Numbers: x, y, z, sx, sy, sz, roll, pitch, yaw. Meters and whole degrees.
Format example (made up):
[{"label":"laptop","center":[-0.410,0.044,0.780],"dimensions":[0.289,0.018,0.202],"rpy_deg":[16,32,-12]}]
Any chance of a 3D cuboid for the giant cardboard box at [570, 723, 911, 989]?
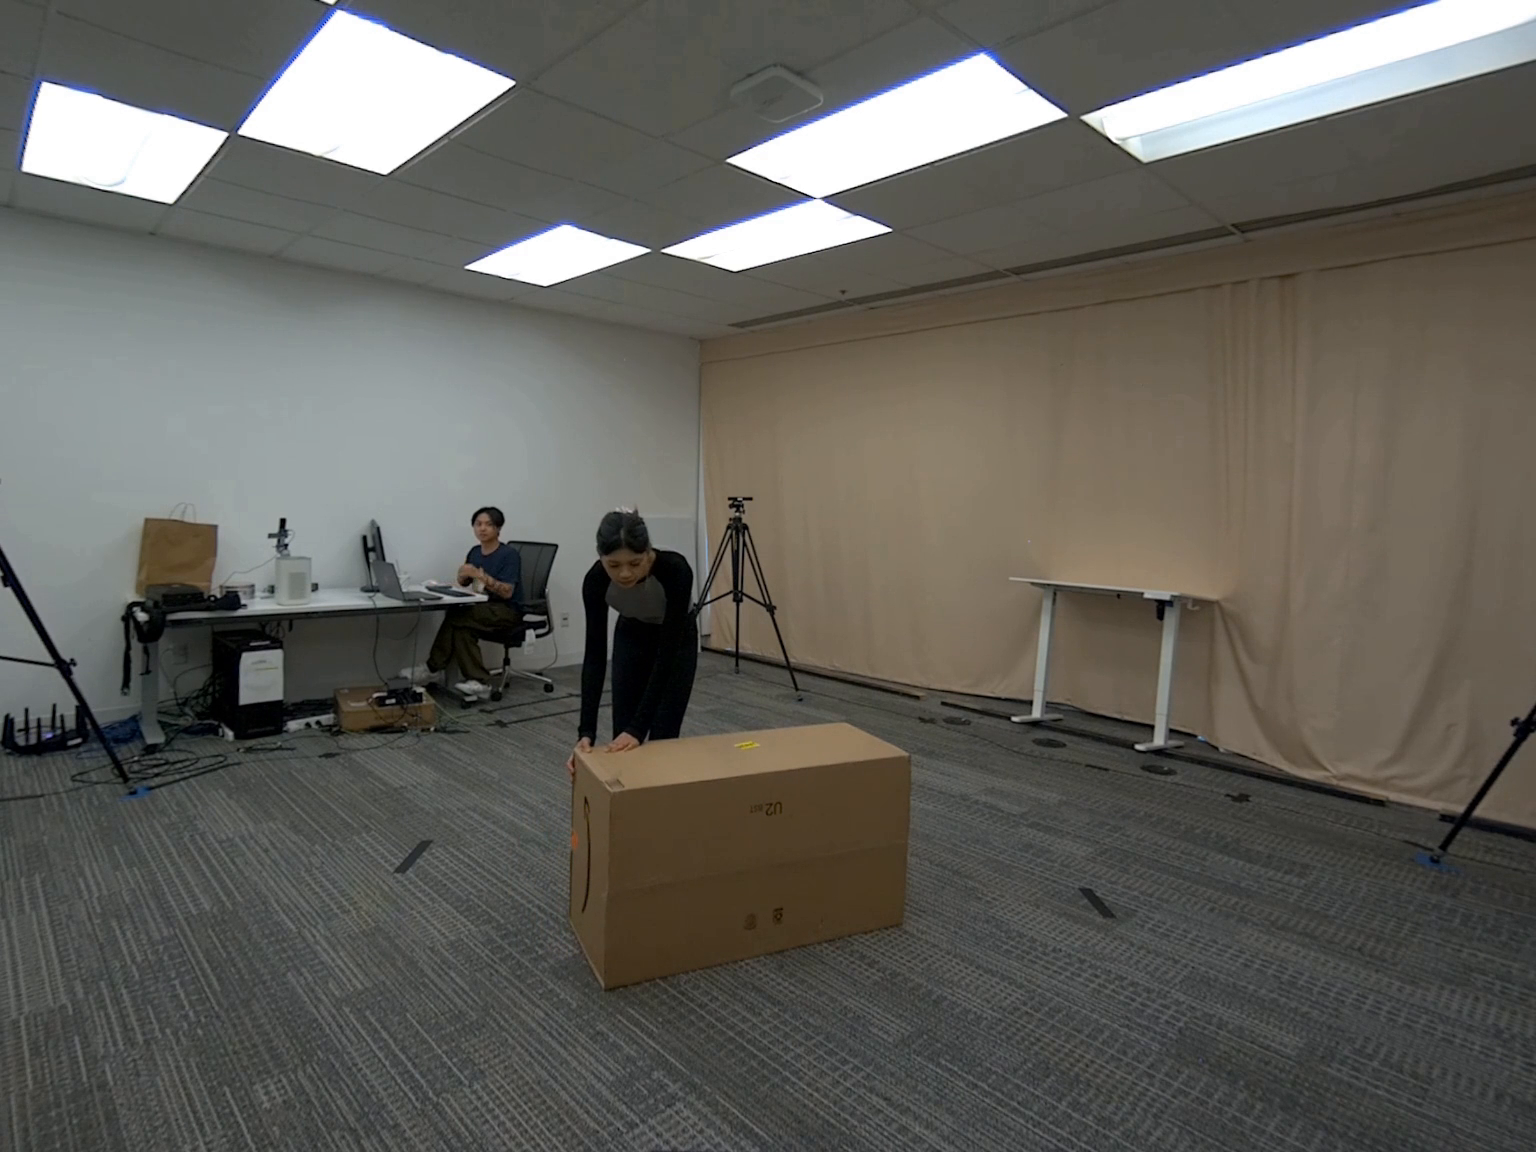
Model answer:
[{"label":"giant cardboard box","center":[-0.088,0.853,2.741],"dimensions":[1.008,0.583,0.456],"rpy_deg":[-1,3,-25]}]
